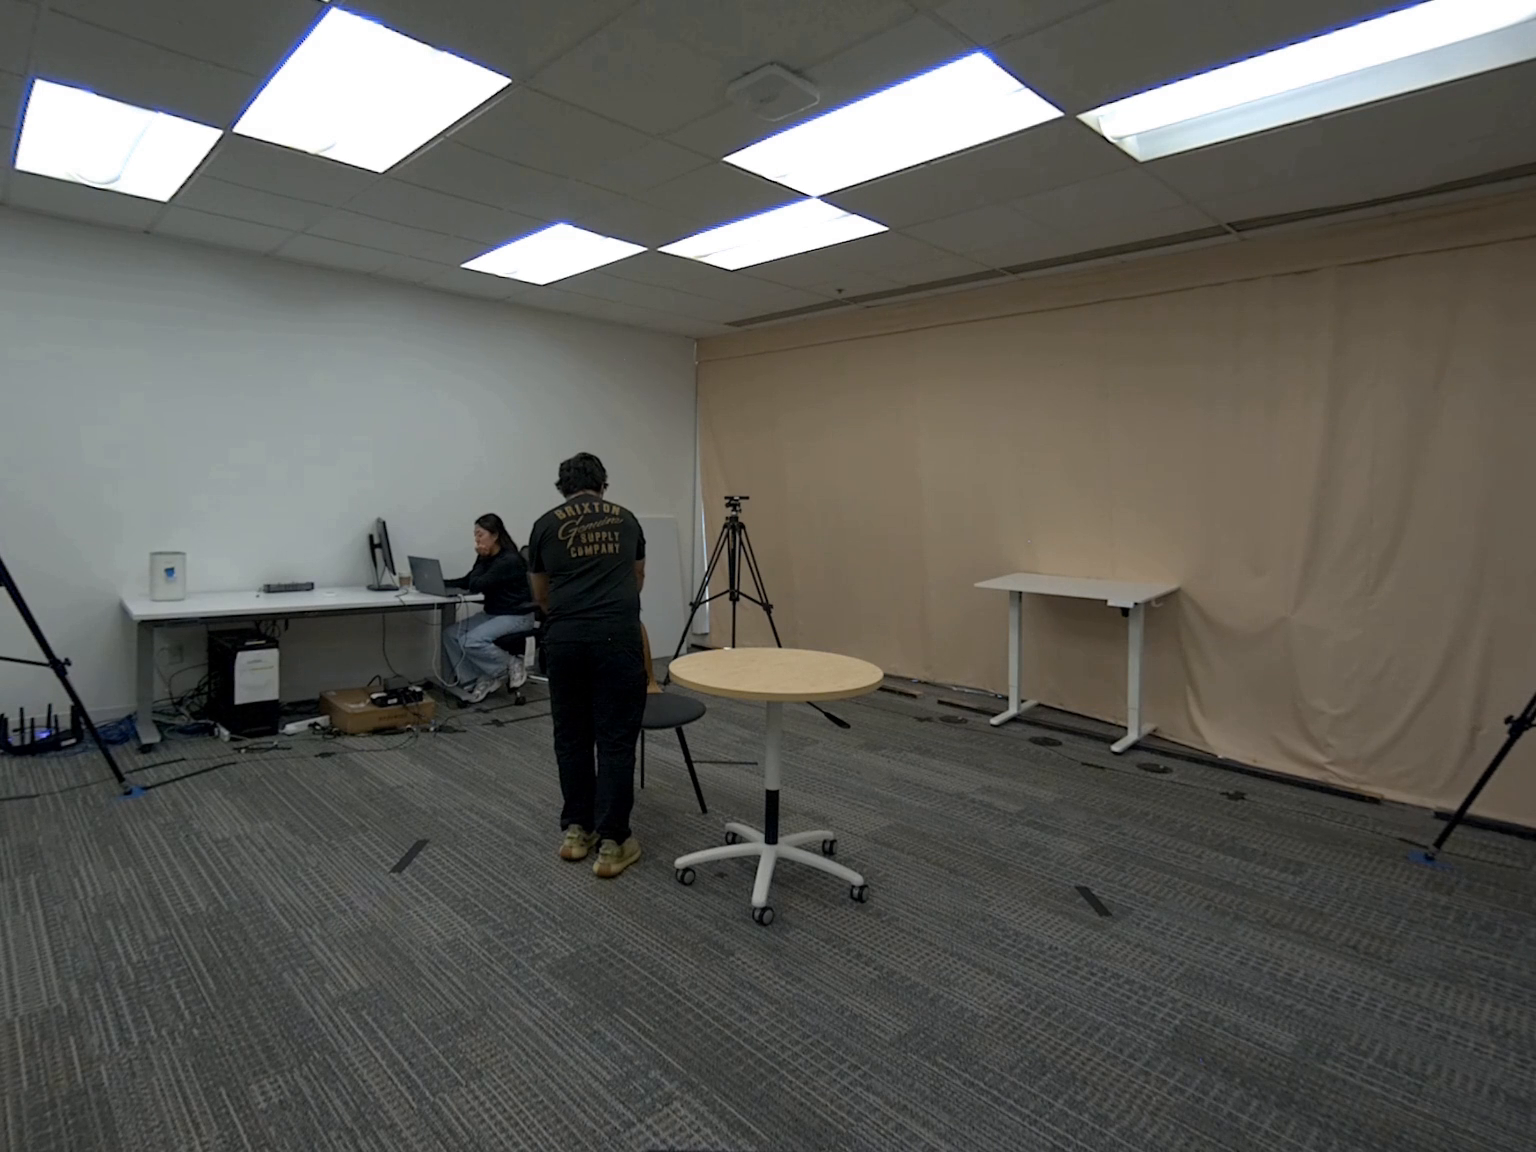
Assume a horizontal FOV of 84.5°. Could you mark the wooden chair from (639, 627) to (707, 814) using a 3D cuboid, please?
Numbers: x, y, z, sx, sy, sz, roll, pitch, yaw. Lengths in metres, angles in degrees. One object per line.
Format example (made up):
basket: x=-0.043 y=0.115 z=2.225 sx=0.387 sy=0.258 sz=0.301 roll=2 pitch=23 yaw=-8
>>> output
wooden chair: x=-0.573 y=0.614 z=3.685 sx=0.535 sy=0.878 sz=0.467 roll=-2 pitch=-1 yaw=44
